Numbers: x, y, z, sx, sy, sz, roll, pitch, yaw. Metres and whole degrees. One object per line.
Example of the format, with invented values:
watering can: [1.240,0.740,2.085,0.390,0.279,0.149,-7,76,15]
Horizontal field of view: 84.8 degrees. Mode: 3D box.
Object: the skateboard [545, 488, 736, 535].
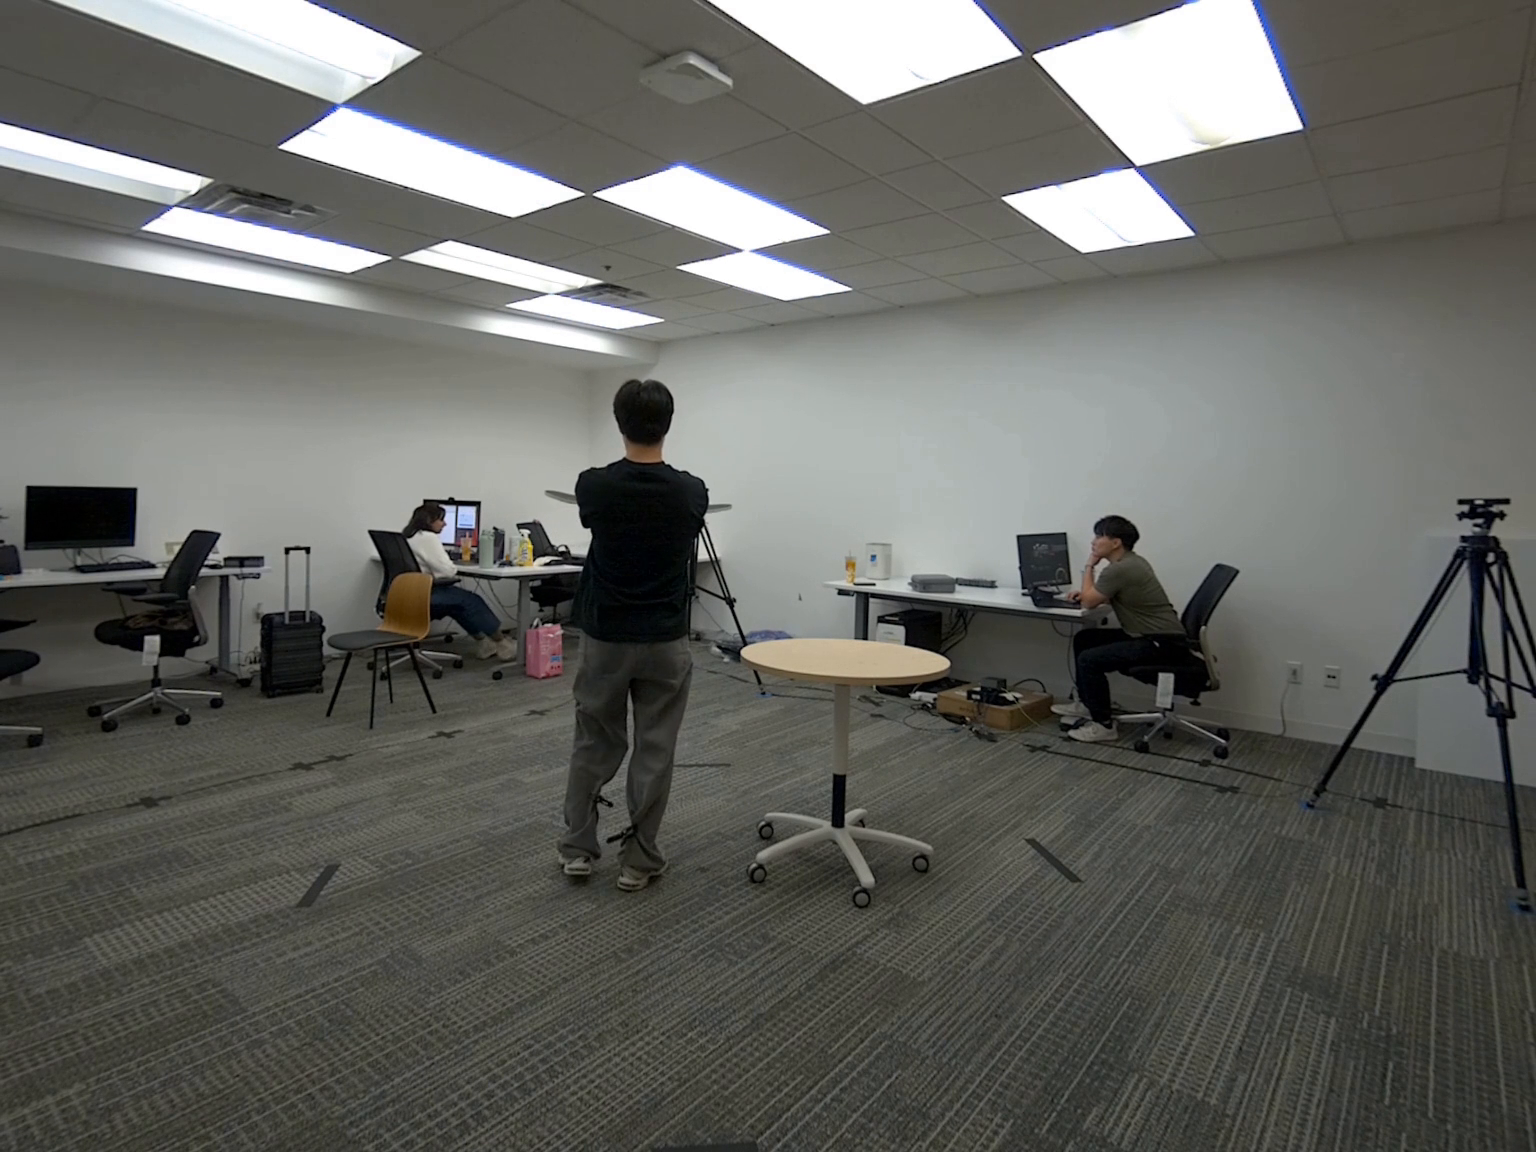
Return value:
skateboard: [-0.546,-0.278,3.603,0.778,0.109,0.197,4,10,-8]
